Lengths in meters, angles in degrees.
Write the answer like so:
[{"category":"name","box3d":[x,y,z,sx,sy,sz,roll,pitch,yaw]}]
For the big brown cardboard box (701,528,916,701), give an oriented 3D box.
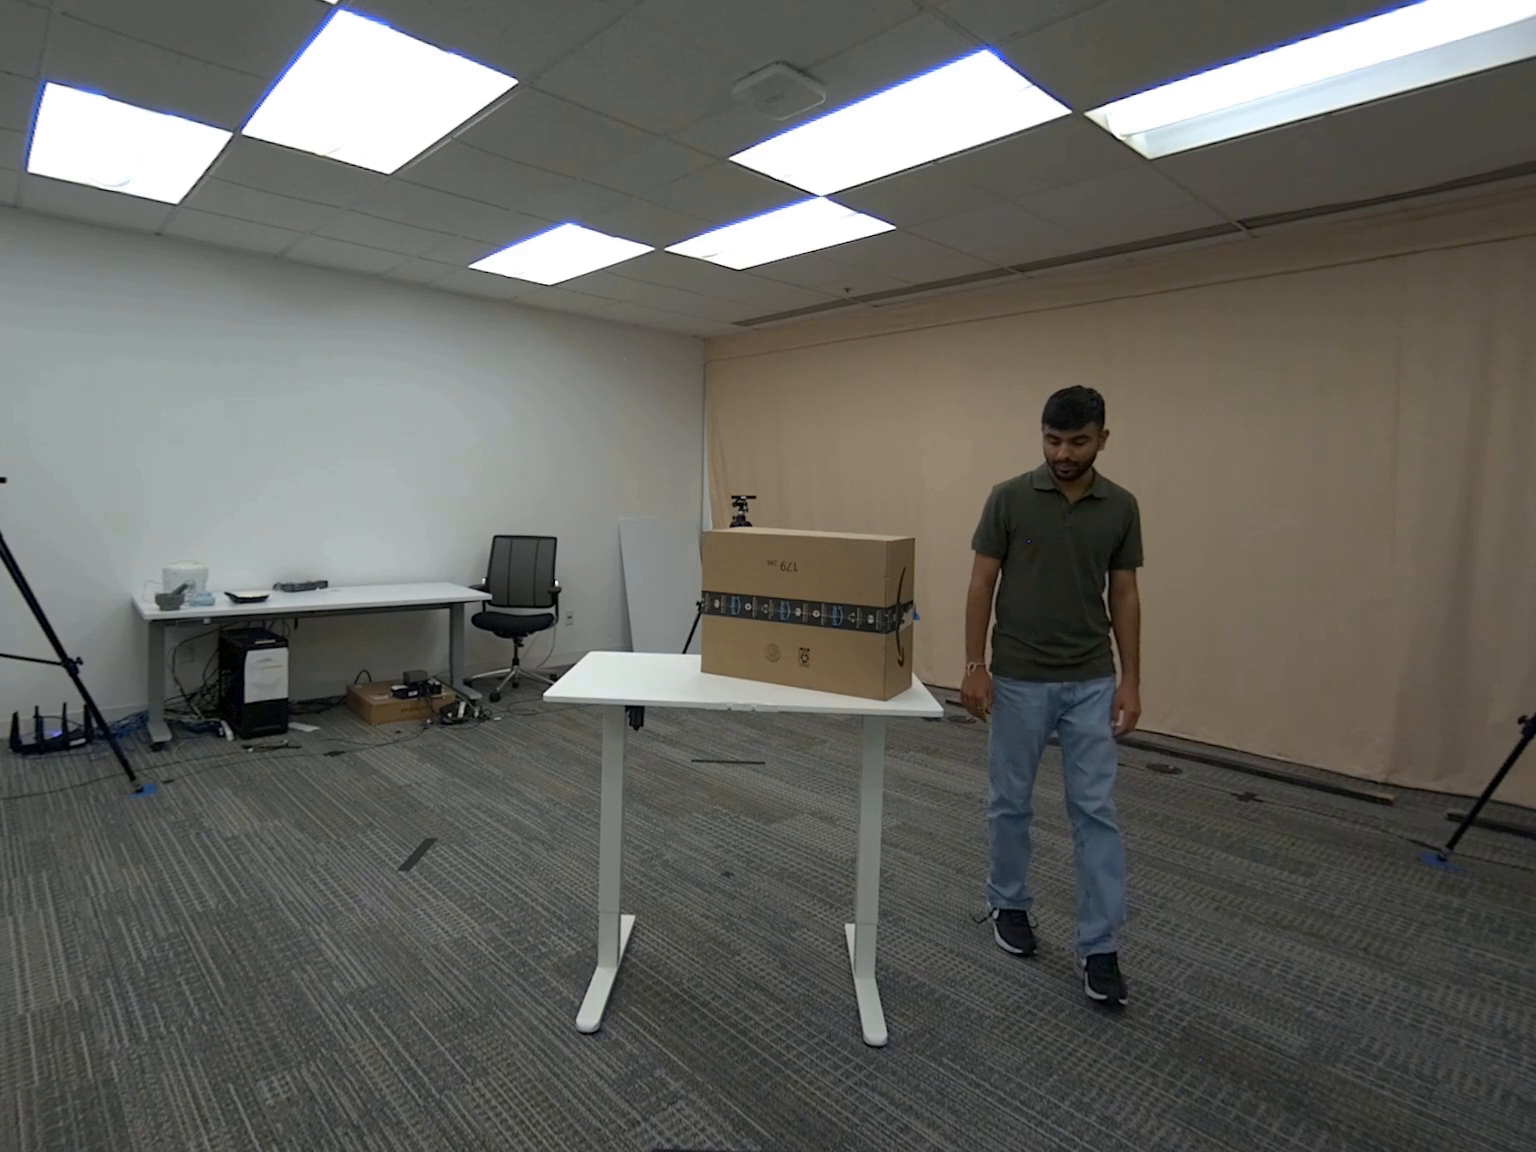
[{"category":"big brown cardboard box","box3d":[0.099,0.089,2.375,0.602,0.416,0.229,5,6,31]}]
